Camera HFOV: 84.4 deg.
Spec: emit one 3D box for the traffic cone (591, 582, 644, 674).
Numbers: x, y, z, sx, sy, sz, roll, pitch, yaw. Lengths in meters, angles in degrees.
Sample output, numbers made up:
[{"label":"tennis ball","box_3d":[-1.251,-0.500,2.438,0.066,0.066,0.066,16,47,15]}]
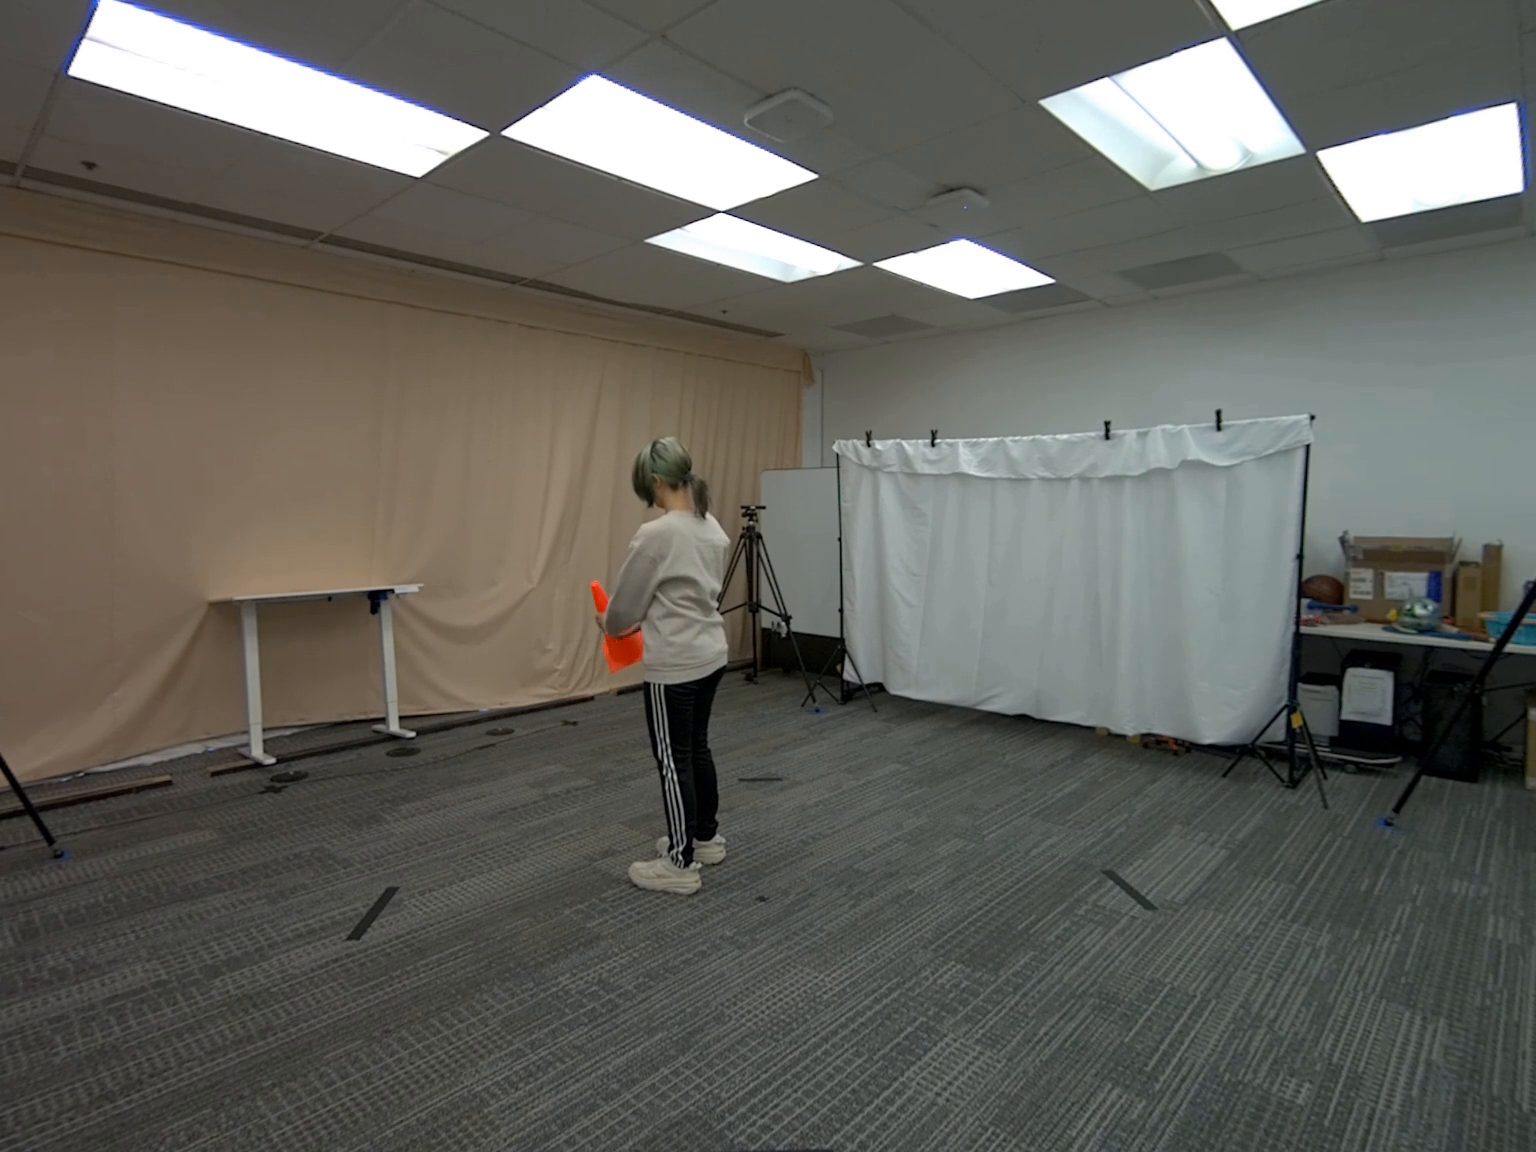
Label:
[{"label":"traffic cone","box_3d":[-0.644,0.173,3.424,0.211,0.373,0.203,5,42,30]}]
